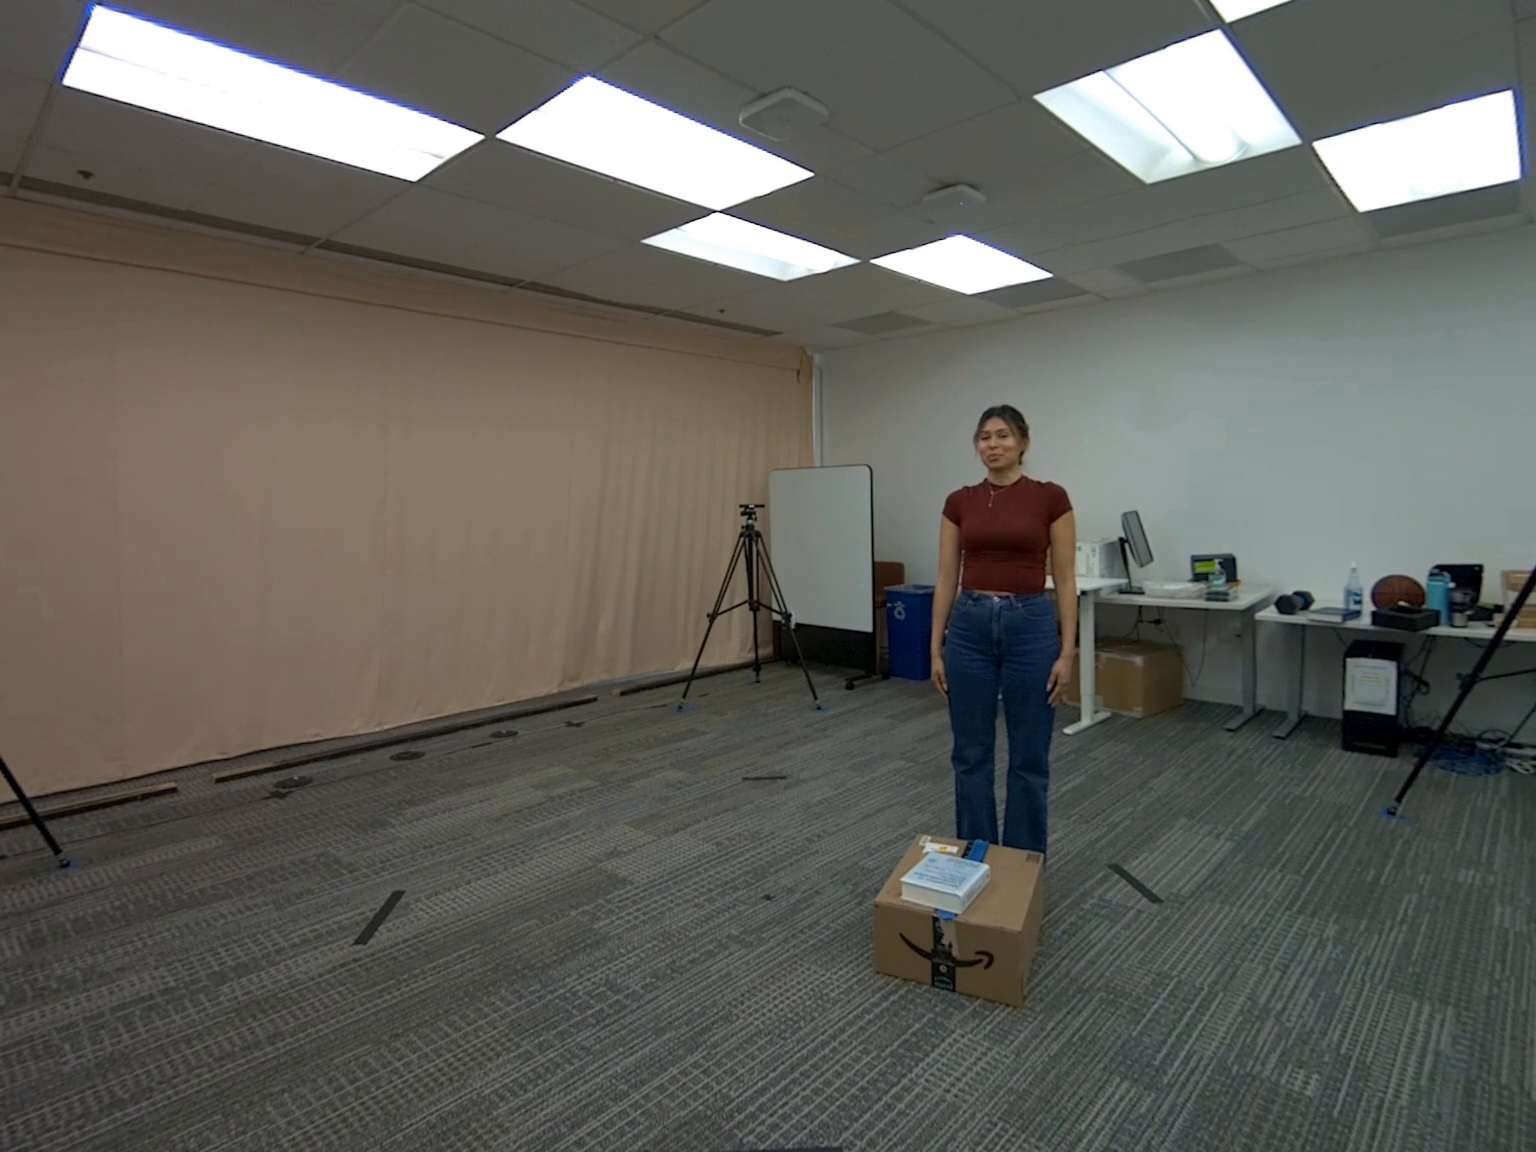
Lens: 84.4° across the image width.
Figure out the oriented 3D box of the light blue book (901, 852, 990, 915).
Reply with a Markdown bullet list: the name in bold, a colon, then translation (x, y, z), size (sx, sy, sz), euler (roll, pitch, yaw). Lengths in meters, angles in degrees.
- **light blue book**: translation (0.546, 0.921, 2.560), size (0.197, 0.059, 0.254), euler (2, 4, 33)
